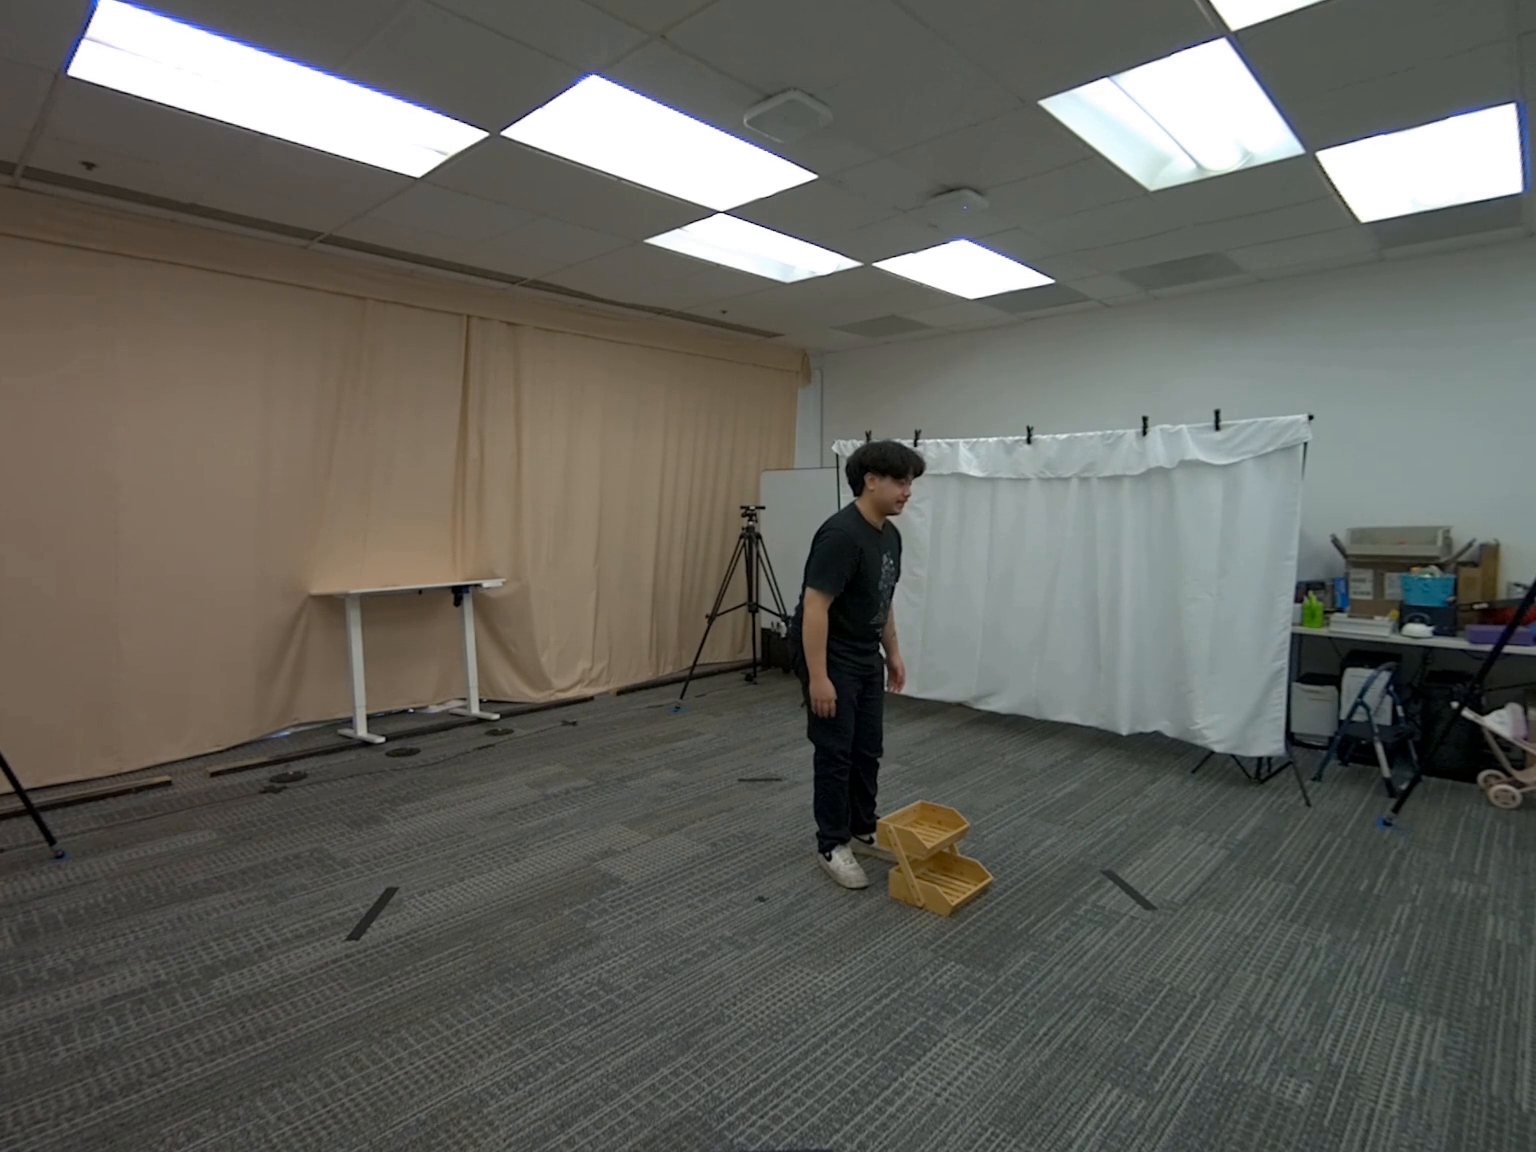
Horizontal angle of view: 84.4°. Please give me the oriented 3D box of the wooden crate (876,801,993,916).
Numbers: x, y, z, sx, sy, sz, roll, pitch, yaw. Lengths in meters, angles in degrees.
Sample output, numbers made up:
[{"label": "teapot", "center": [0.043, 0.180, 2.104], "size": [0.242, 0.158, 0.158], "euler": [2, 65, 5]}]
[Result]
[{"label": "wooden crate", "center": [0.615, 1.004, 3.027], "size": [0.312, 0.273, 0.314], "euler": [2, 4, 41]}]
